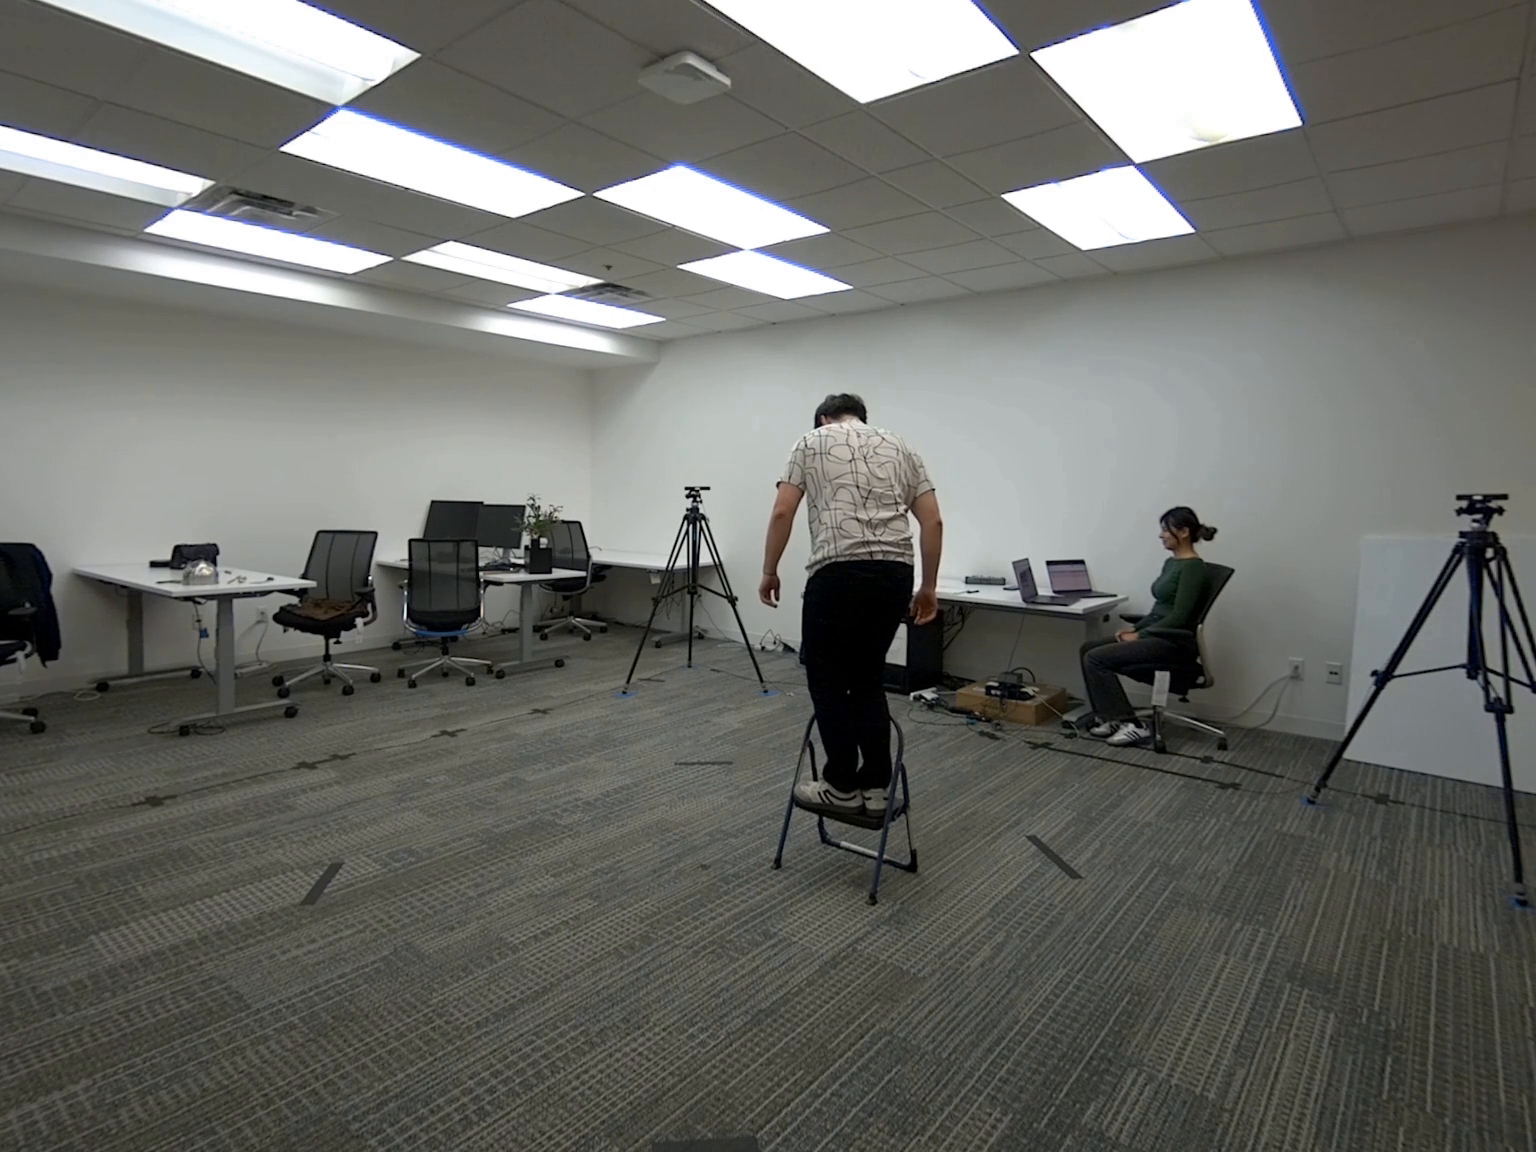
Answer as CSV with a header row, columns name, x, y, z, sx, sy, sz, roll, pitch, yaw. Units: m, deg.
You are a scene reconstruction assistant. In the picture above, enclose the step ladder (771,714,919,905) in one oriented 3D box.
name,x,y,z,sx,sy,sz,roll,pitch,yaw
step ladder,0.281,0.768,3.104,0.445,0.604,0.339,4,4,37
